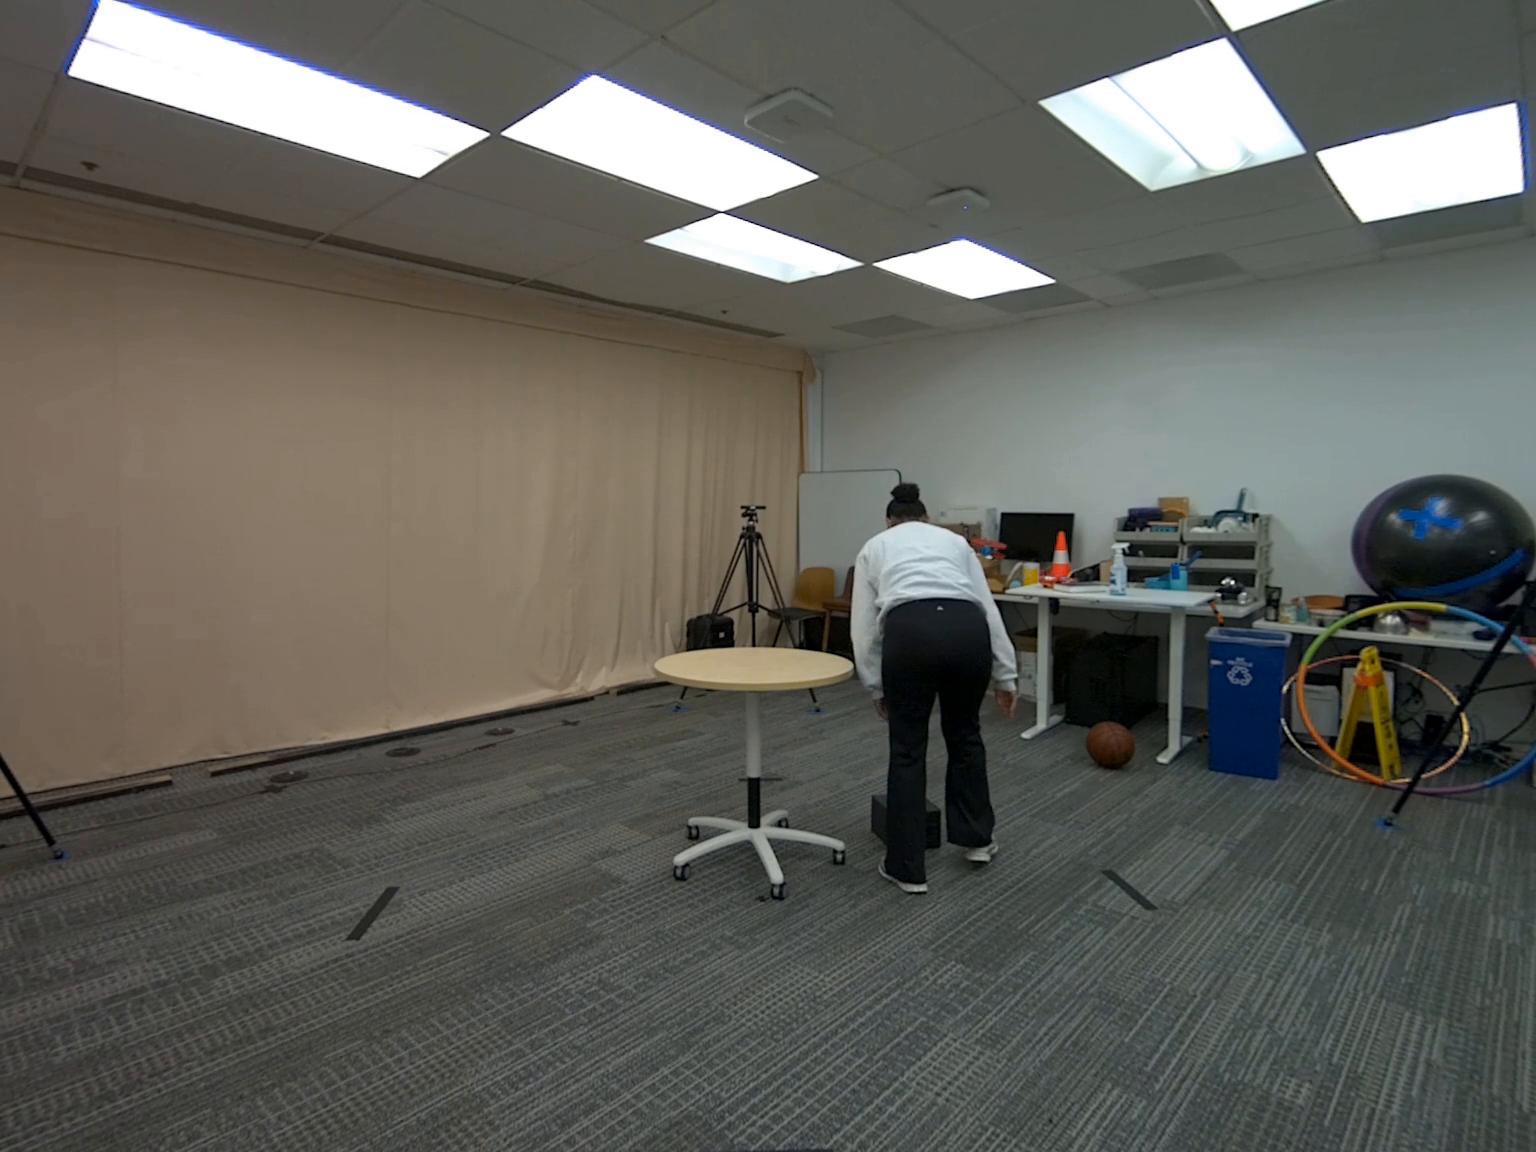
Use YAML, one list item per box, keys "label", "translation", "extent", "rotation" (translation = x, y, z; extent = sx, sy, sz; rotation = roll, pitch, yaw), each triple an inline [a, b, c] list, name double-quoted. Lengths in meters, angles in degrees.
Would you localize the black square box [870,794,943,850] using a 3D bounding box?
- label: "black square box"
  translation: [0.581, 1.019, 3.513]
  extent: [0.214, 0.155, 0.231]
  rotation: [-1, 4, -12]
